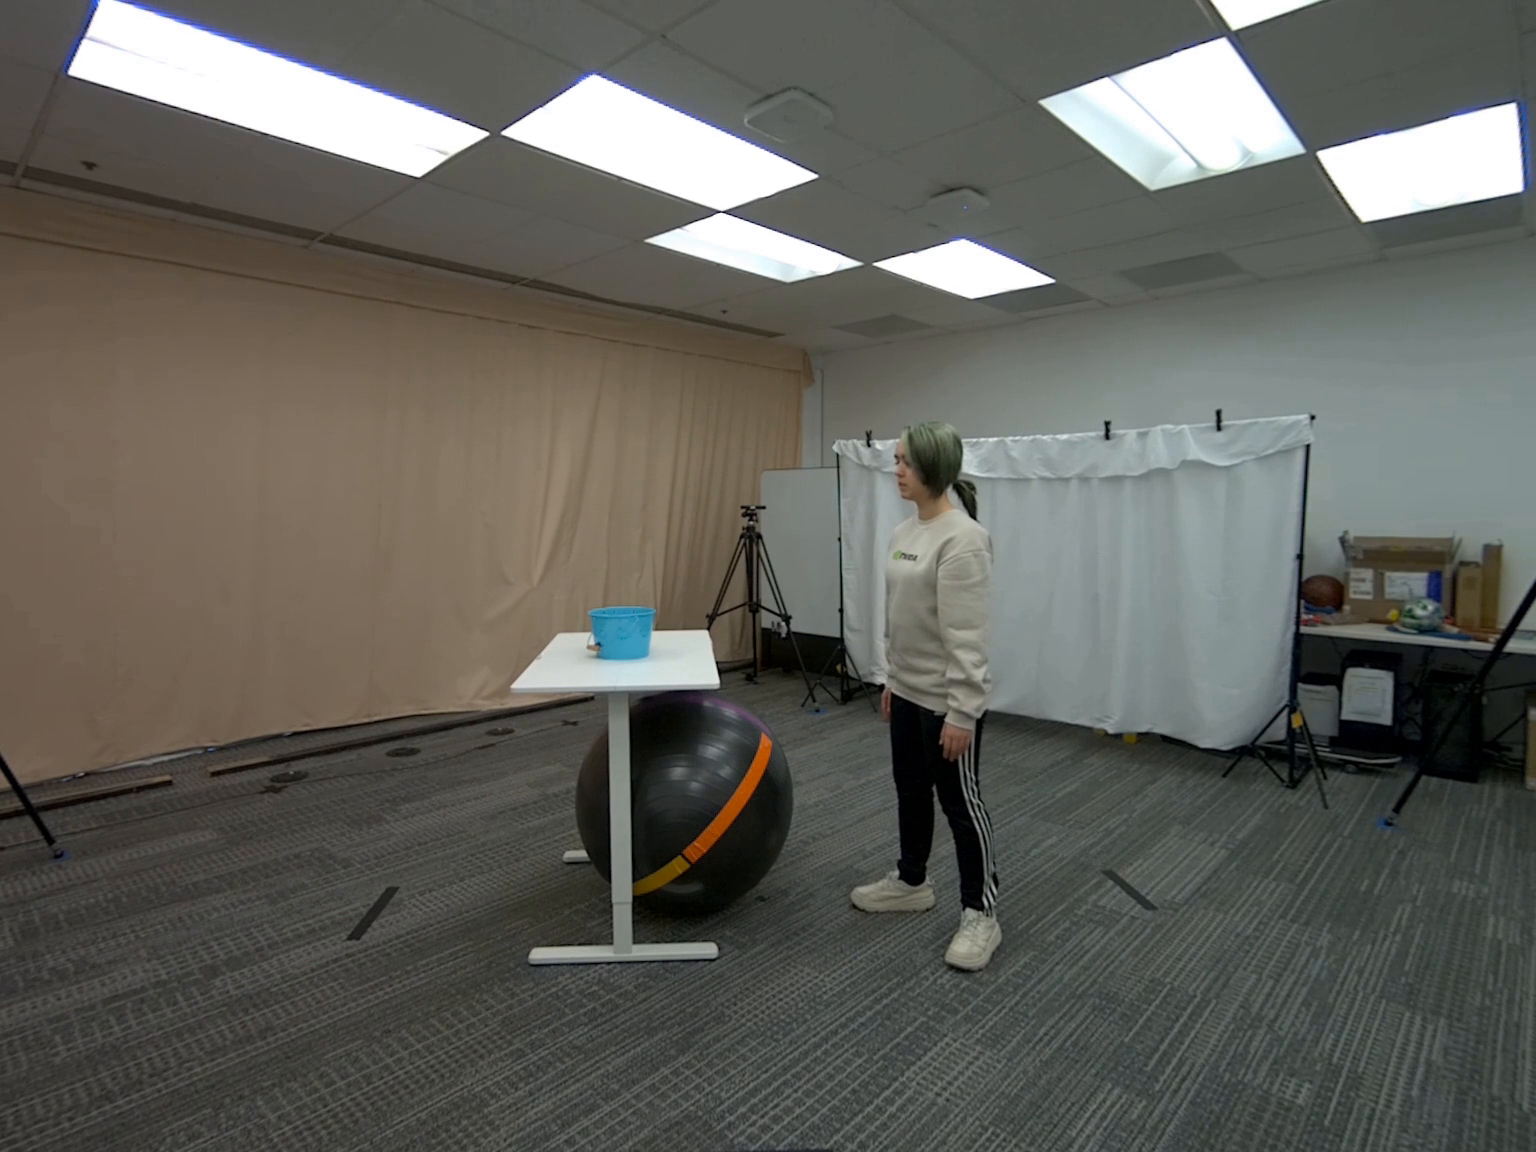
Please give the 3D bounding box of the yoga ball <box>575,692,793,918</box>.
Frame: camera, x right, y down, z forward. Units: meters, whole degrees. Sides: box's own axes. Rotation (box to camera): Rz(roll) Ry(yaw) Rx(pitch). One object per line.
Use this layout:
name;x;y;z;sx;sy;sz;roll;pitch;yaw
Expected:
yoga ball;-0.289;0.780;2.950;0.757;0.756;0.760;0;4;-2
